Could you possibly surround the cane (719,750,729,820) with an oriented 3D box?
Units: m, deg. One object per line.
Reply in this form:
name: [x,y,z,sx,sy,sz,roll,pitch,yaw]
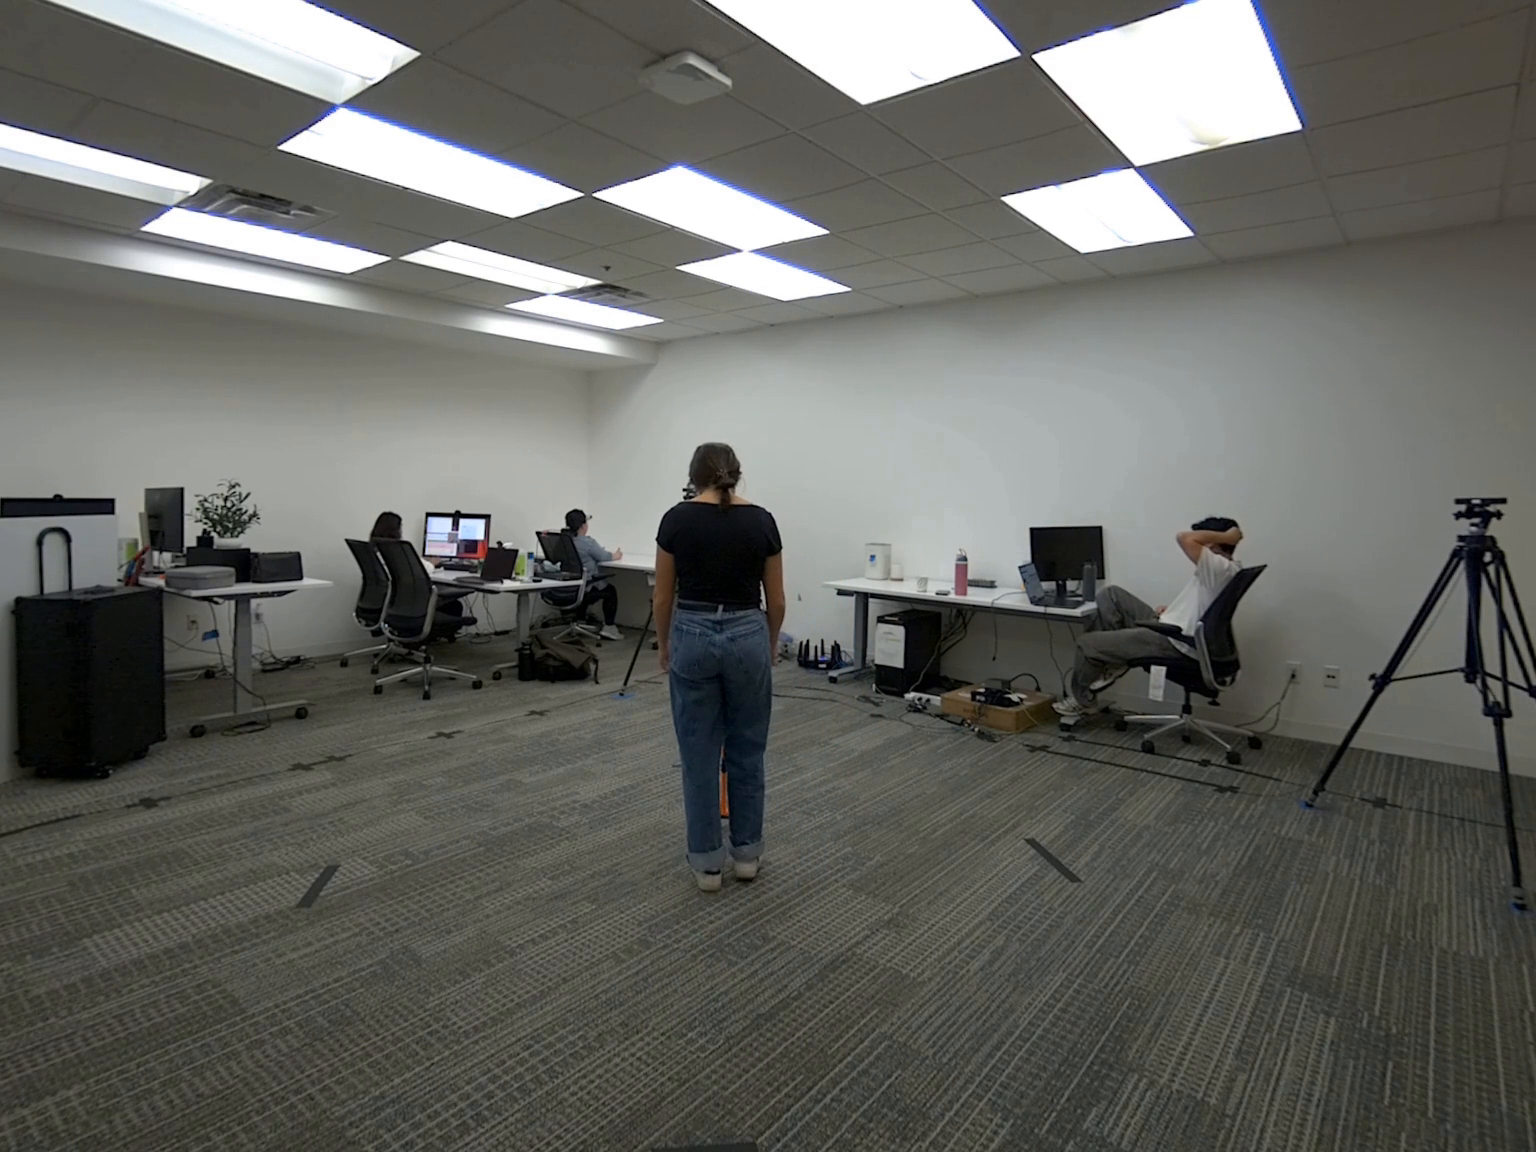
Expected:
cane: [-0.171,0.569,3.483,0.206,0.905,0.153,1,3,-4]
